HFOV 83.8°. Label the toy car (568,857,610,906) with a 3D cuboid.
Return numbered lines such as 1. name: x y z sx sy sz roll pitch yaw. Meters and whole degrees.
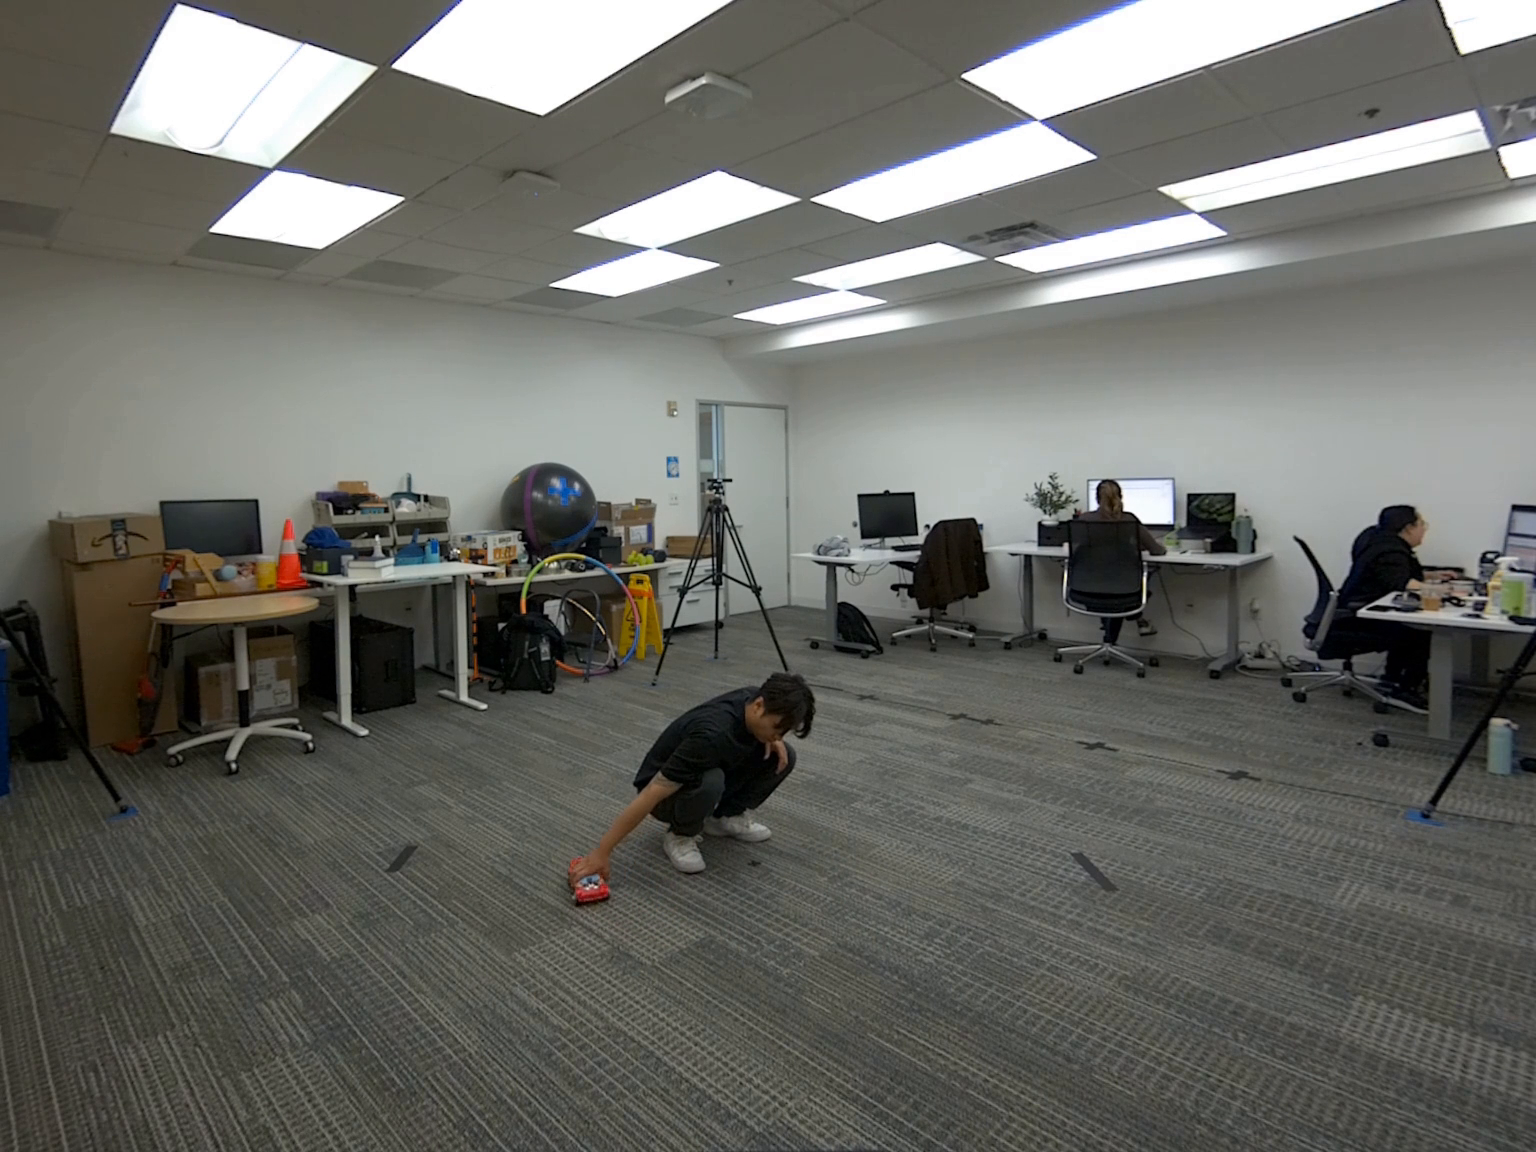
1. toy car: -0.616 1.046 2.926 0.128 0.082 0.262 -4 17 -20
